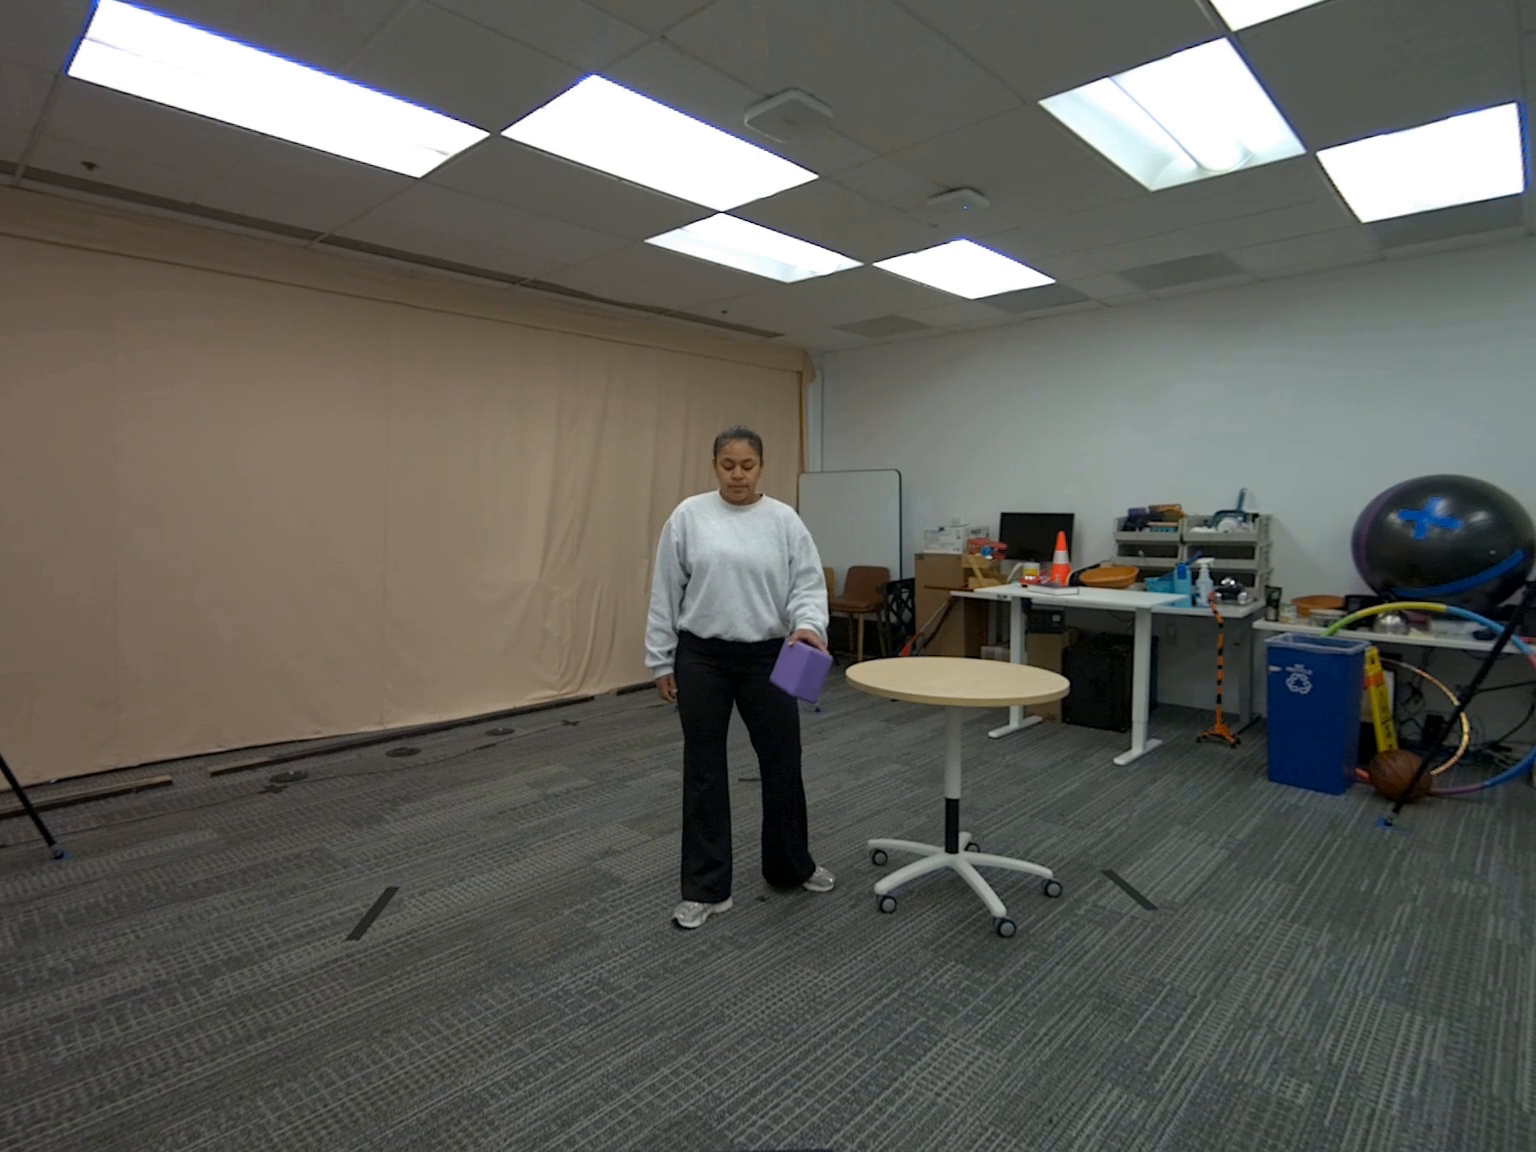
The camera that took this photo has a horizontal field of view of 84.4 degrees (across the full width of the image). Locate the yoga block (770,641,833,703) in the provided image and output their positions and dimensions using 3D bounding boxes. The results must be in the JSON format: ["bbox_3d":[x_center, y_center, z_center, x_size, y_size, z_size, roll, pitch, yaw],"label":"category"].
[{"bbox_3d":[0.103,0.277,2.515,0.075,0.149,0.234,17,0,-18],"label":"yoga block"}]
